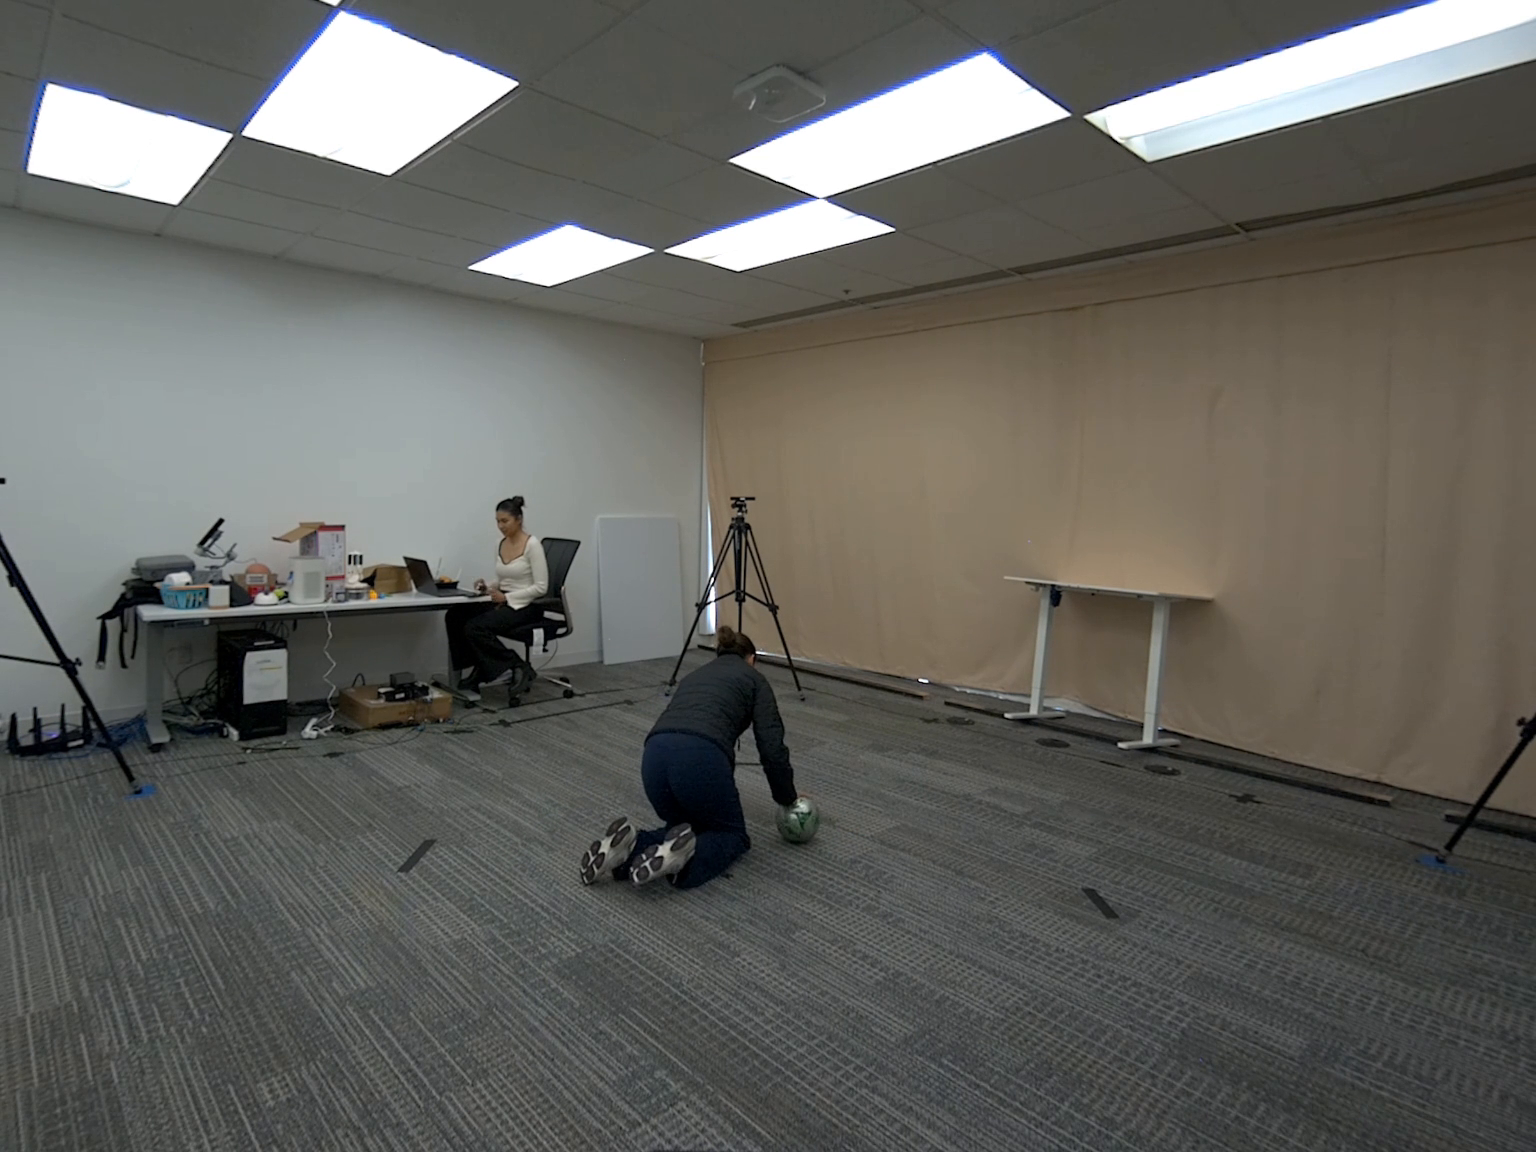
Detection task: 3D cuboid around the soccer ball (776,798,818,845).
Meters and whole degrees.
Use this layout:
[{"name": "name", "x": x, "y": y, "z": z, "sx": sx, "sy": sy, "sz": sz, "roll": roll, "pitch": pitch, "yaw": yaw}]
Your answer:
[{"name": "soccer ball", "x": 0.119, "y": 0.989, "z": 3.425, "sx": 0.187, "sy": 0.187, "sz": 0.188, "roll": 1, "pitch": 4, "yaw": -1}]
